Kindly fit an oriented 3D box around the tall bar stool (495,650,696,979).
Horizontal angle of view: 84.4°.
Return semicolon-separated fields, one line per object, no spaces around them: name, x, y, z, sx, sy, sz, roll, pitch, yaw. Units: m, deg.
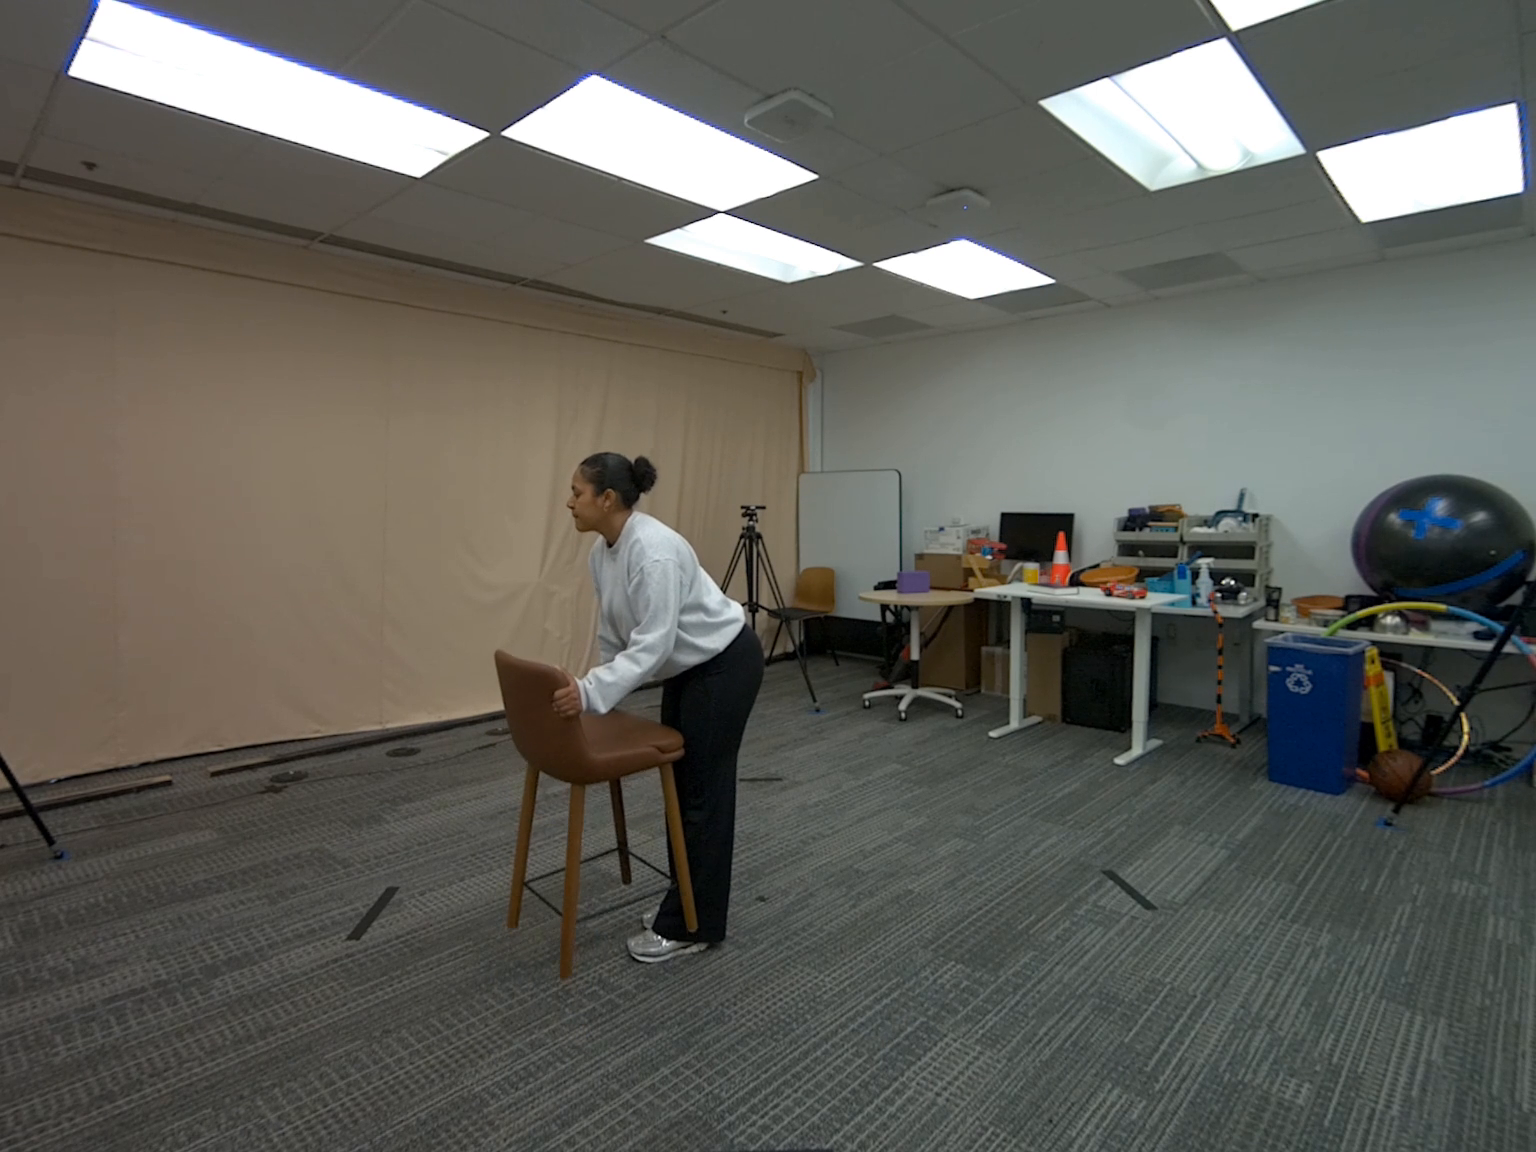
tall bar stool;-0.531;0.646;2.548;0.454;0.886;0.471;-6;7;-38
